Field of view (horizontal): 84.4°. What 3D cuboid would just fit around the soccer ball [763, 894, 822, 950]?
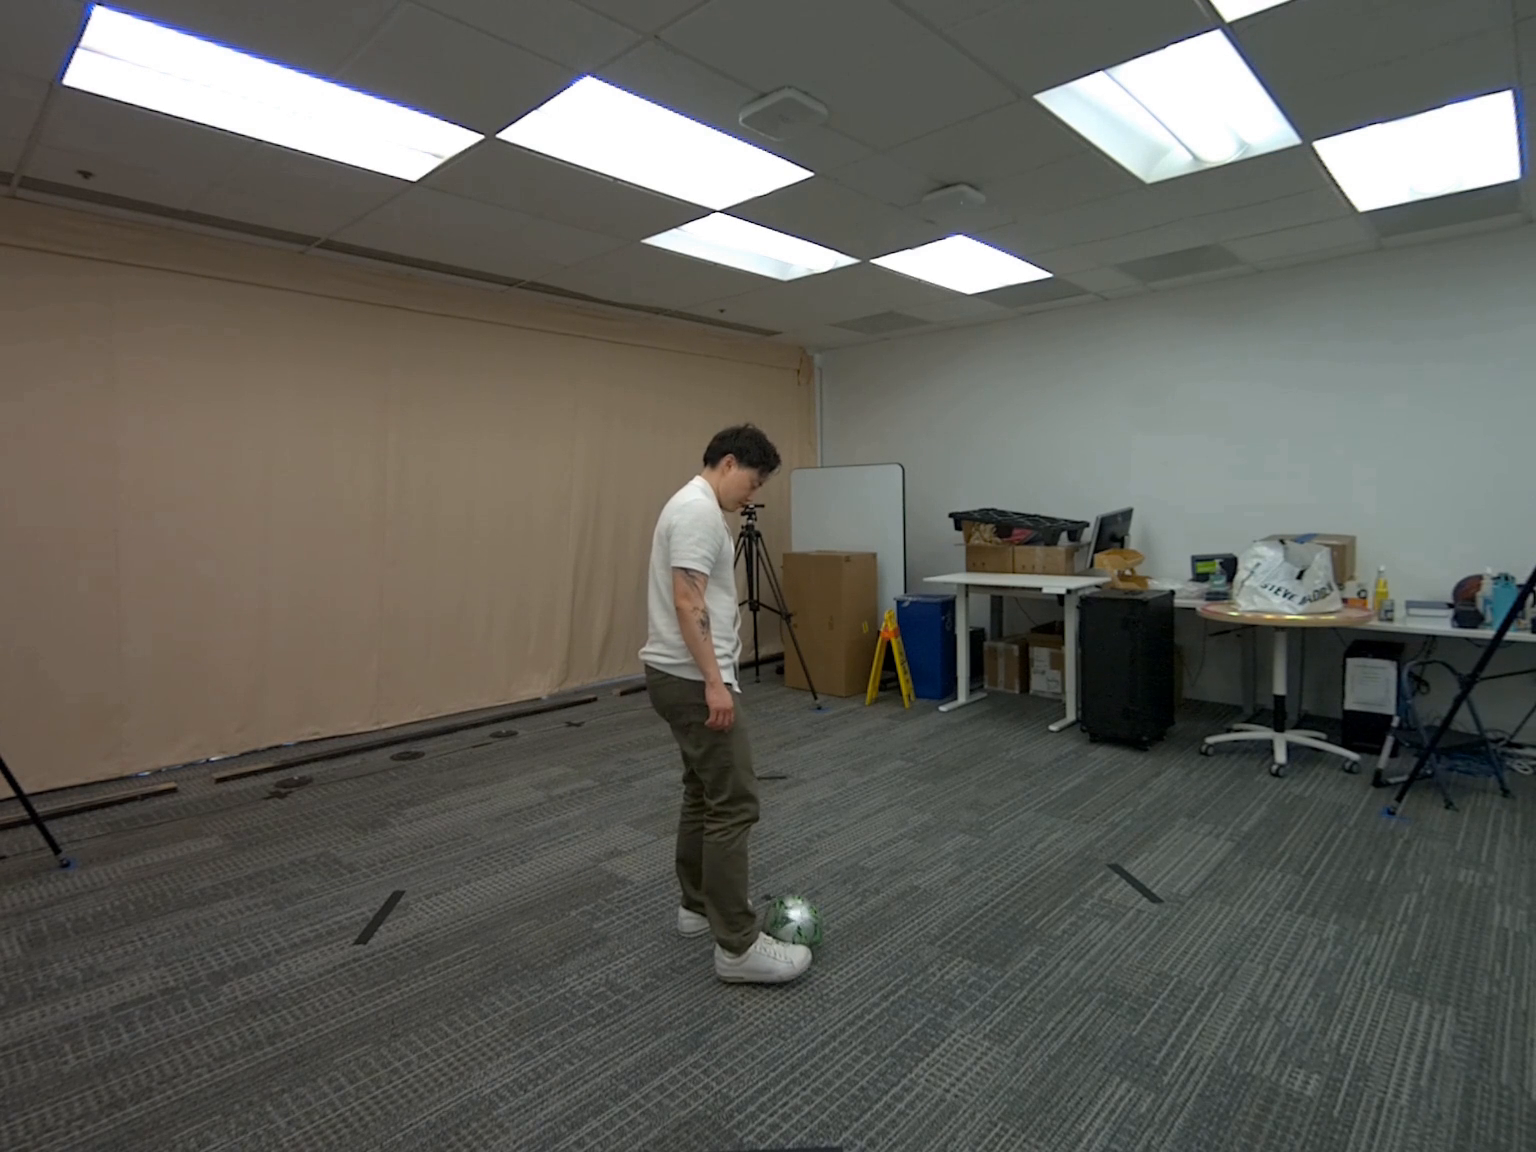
[{"bbox_3d":[0.074,1.078,2.589,0.187,0.187,0.188,-1,4,-2],"label":"soccer ball"}]
